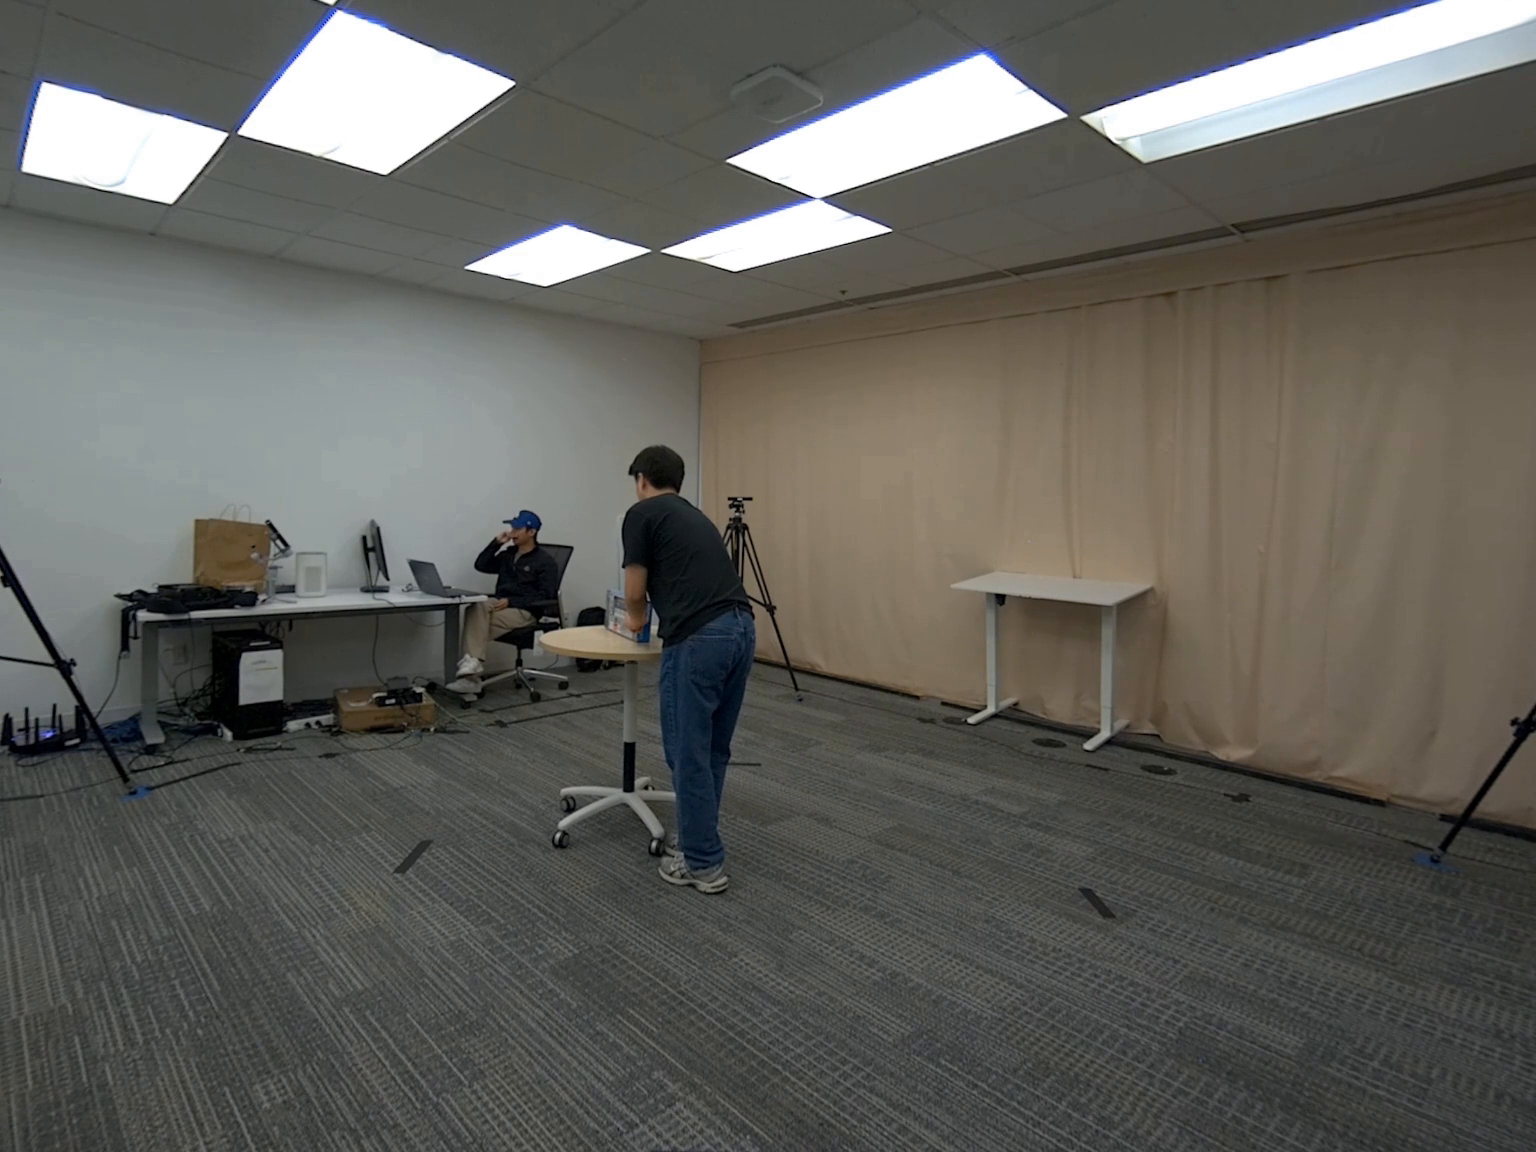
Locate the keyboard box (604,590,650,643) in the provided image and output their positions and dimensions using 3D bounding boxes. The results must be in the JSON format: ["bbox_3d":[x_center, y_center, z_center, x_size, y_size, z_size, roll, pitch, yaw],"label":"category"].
[{"bbox_3d":[-0.615,0.170,3.639,0.058,0.176,0.446,6,2,-28],"label":"keyboard box"}]
